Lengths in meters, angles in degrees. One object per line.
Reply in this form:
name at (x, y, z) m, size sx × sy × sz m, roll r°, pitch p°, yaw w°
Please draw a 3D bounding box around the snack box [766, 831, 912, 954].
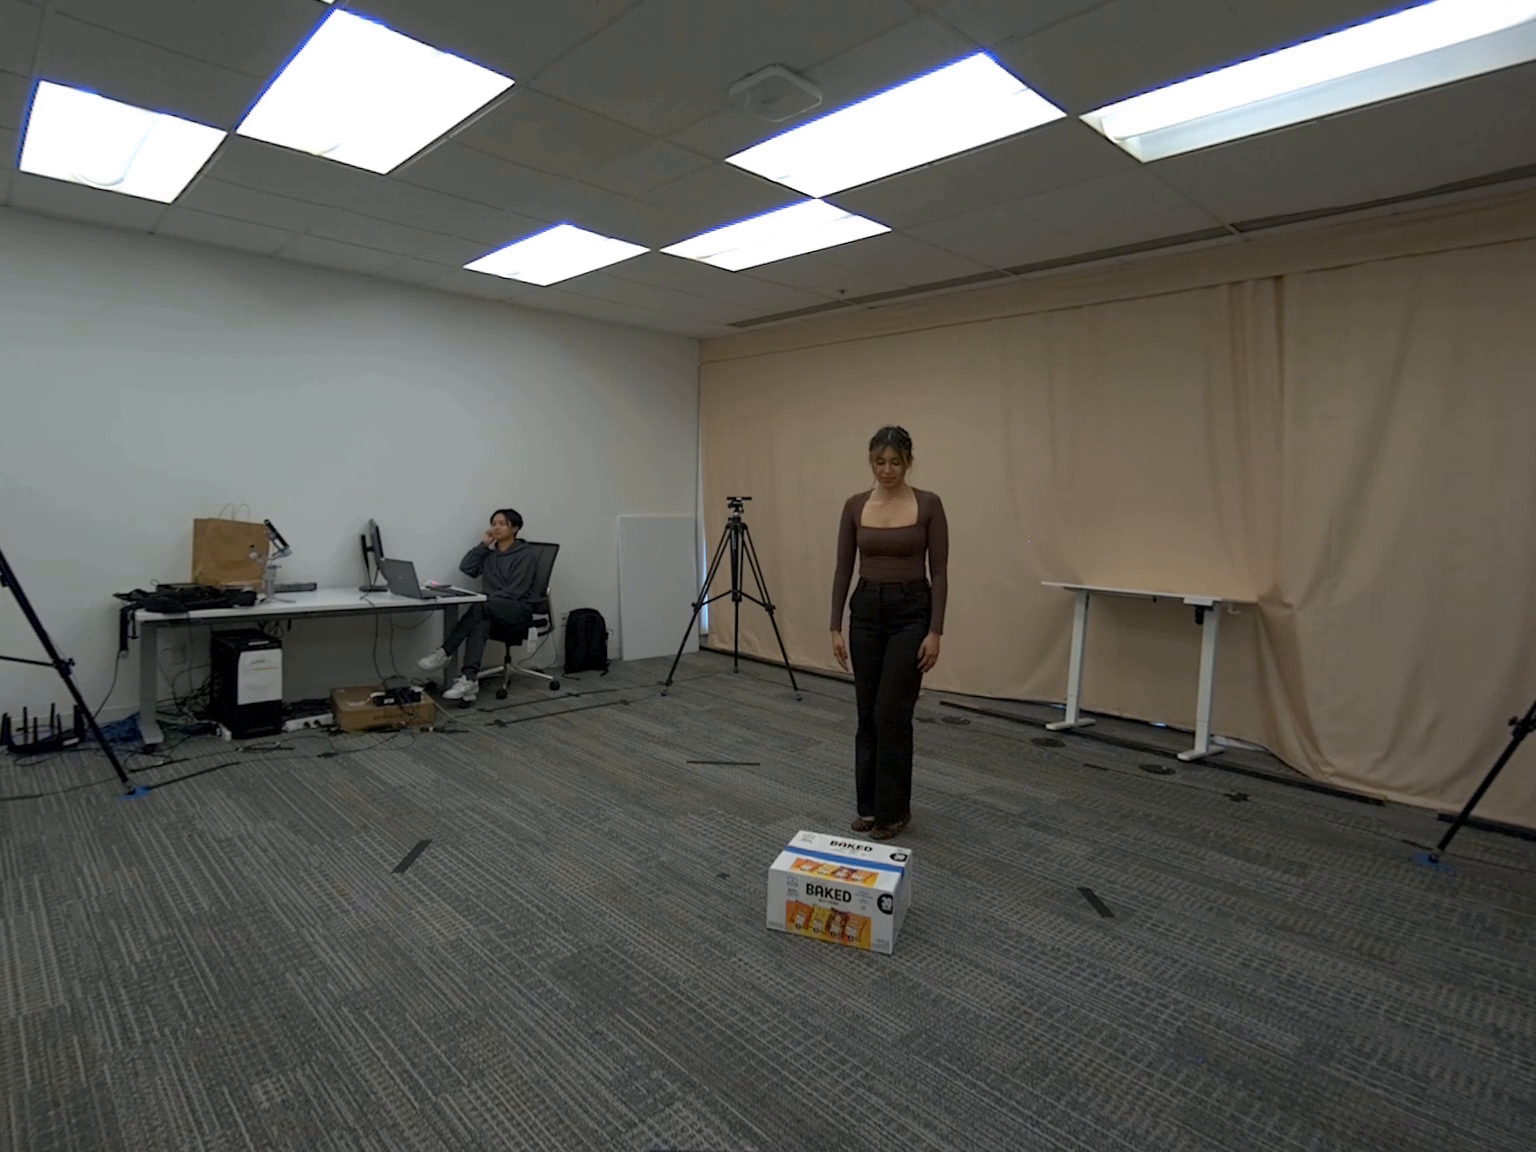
snack box at (0.241, 1.040, 2.800) m, size 0.412 × 0.205 × 0.336 m, roll 3°, pitch 5°, yaw 20°
